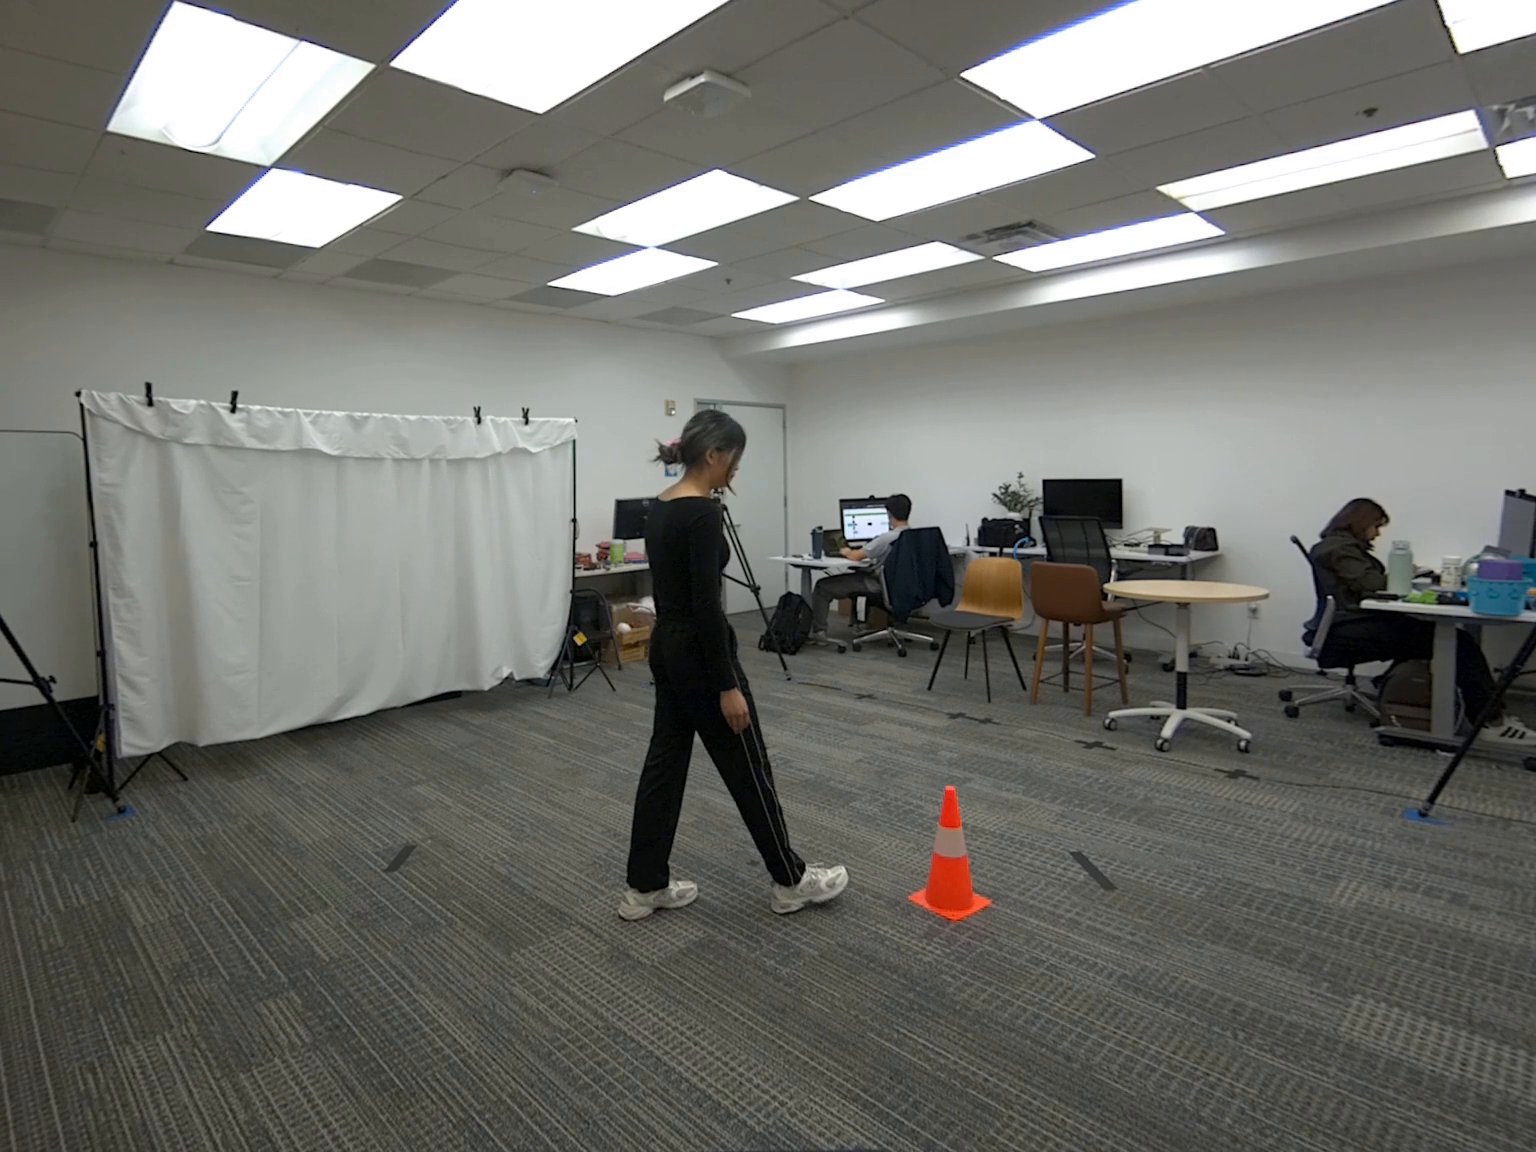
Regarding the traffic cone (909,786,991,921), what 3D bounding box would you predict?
[{"bbox_3d":[0.594,0.880,2.791,0.200,0.382,0.209,-6,6,-40],"label":"traffic cone"}]
